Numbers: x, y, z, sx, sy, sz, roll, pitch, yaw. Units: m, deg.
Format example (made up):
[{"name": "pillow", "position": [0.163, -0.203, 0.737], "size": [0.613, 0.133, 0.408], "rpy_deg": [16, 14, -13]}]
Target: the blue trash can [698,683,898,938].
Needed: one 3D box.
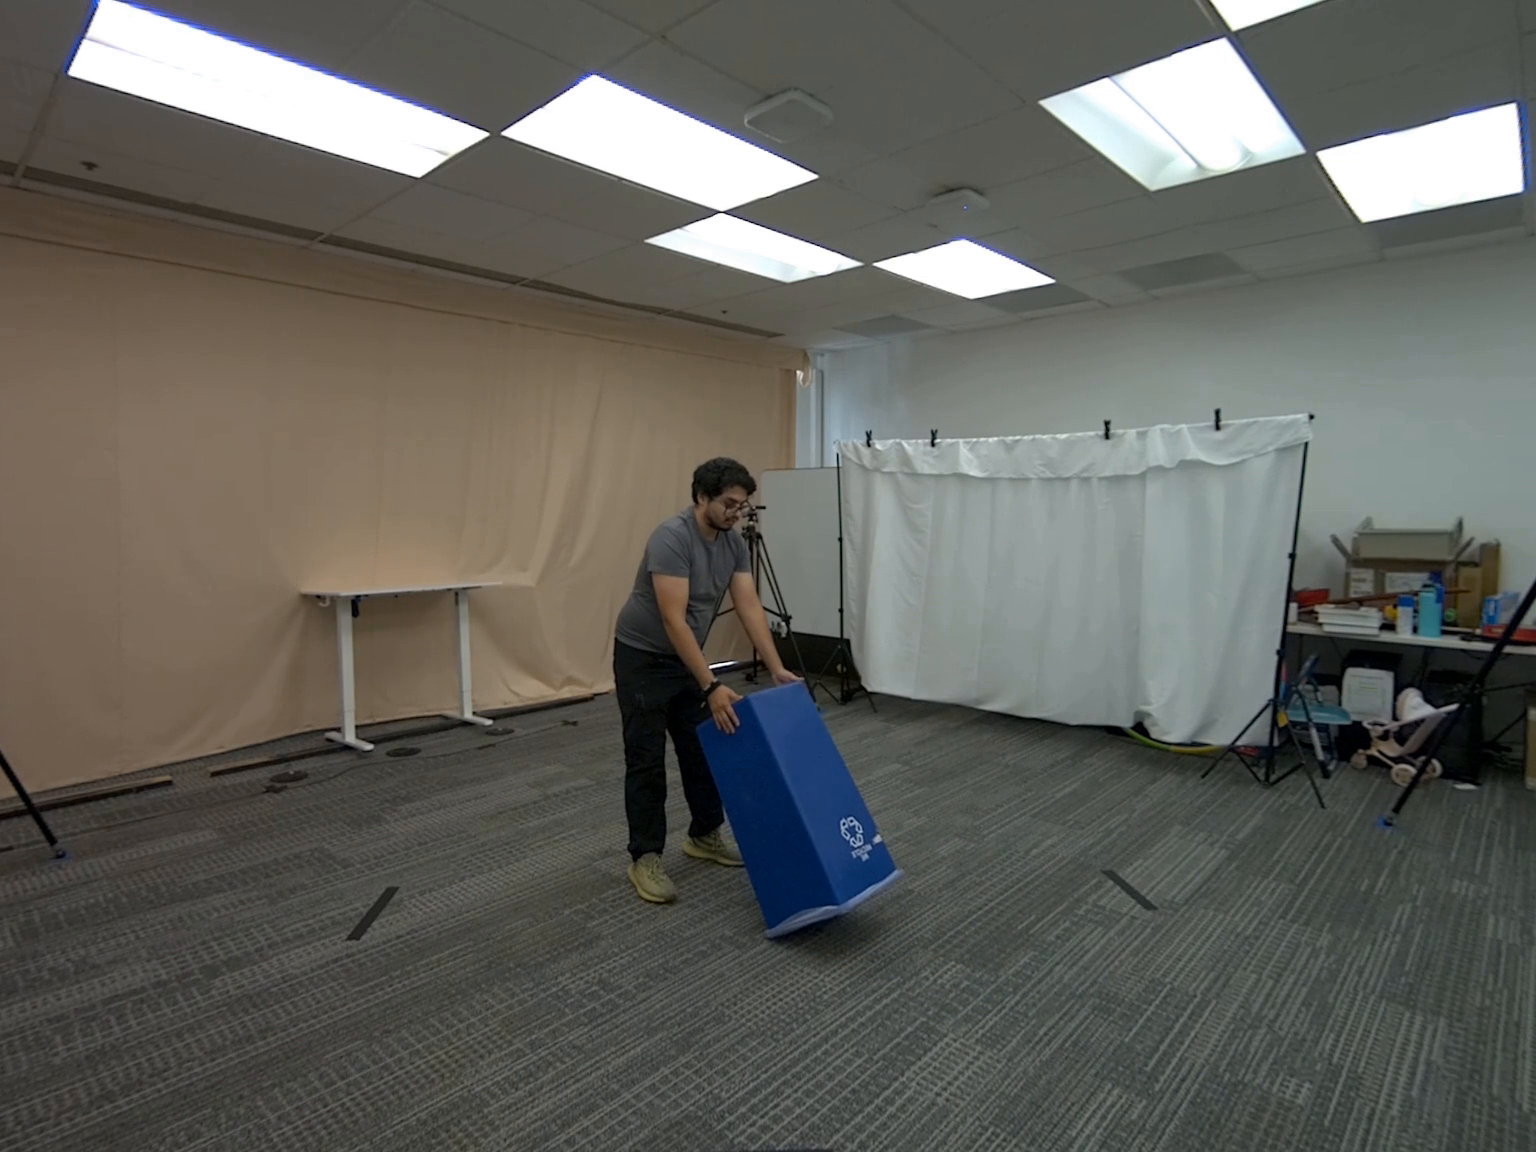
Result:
[{"name": "blue trash can", "position": [0.076, 0.766, 2.836], "size": [0.363, 0.726, 0.383], "rpy_deg": [-5, -26, -48]}]
